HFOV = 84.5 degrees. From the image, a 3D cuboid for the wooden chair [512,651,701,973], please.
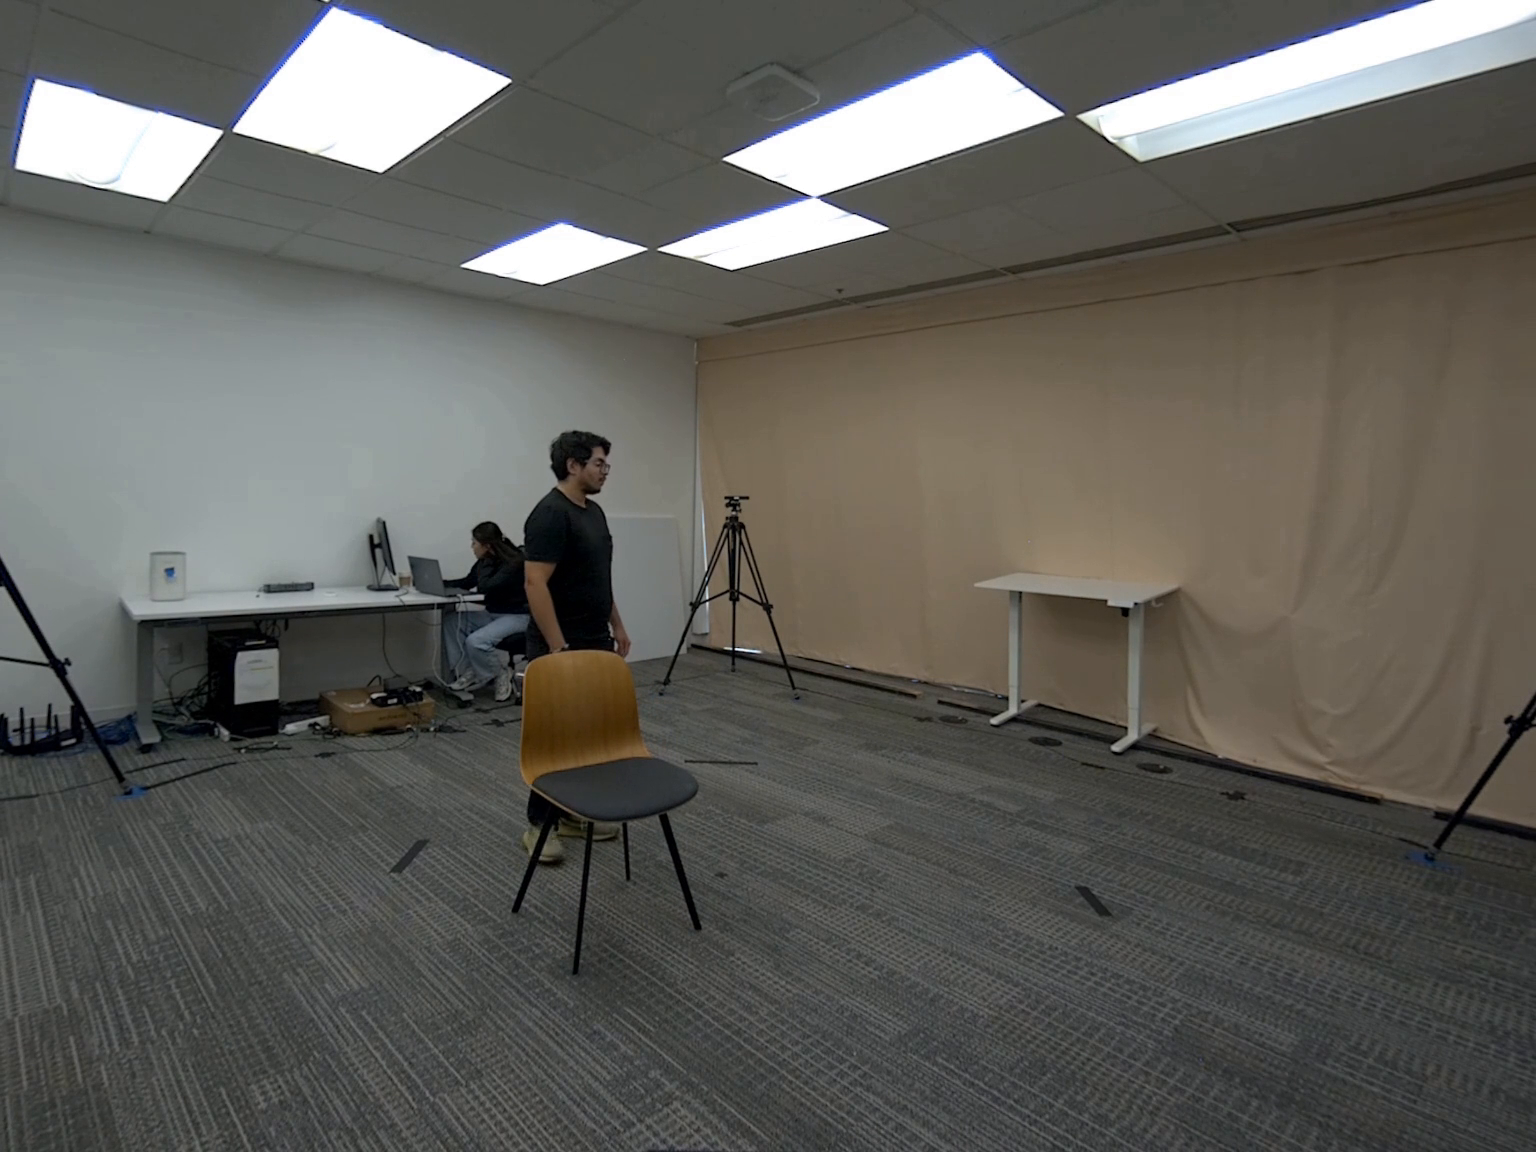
[{"bbox_3d":[-0.517,0.704,2.710,0.467,0.877,0.535,-1,0,-39],"label":"wooden chair"}]
